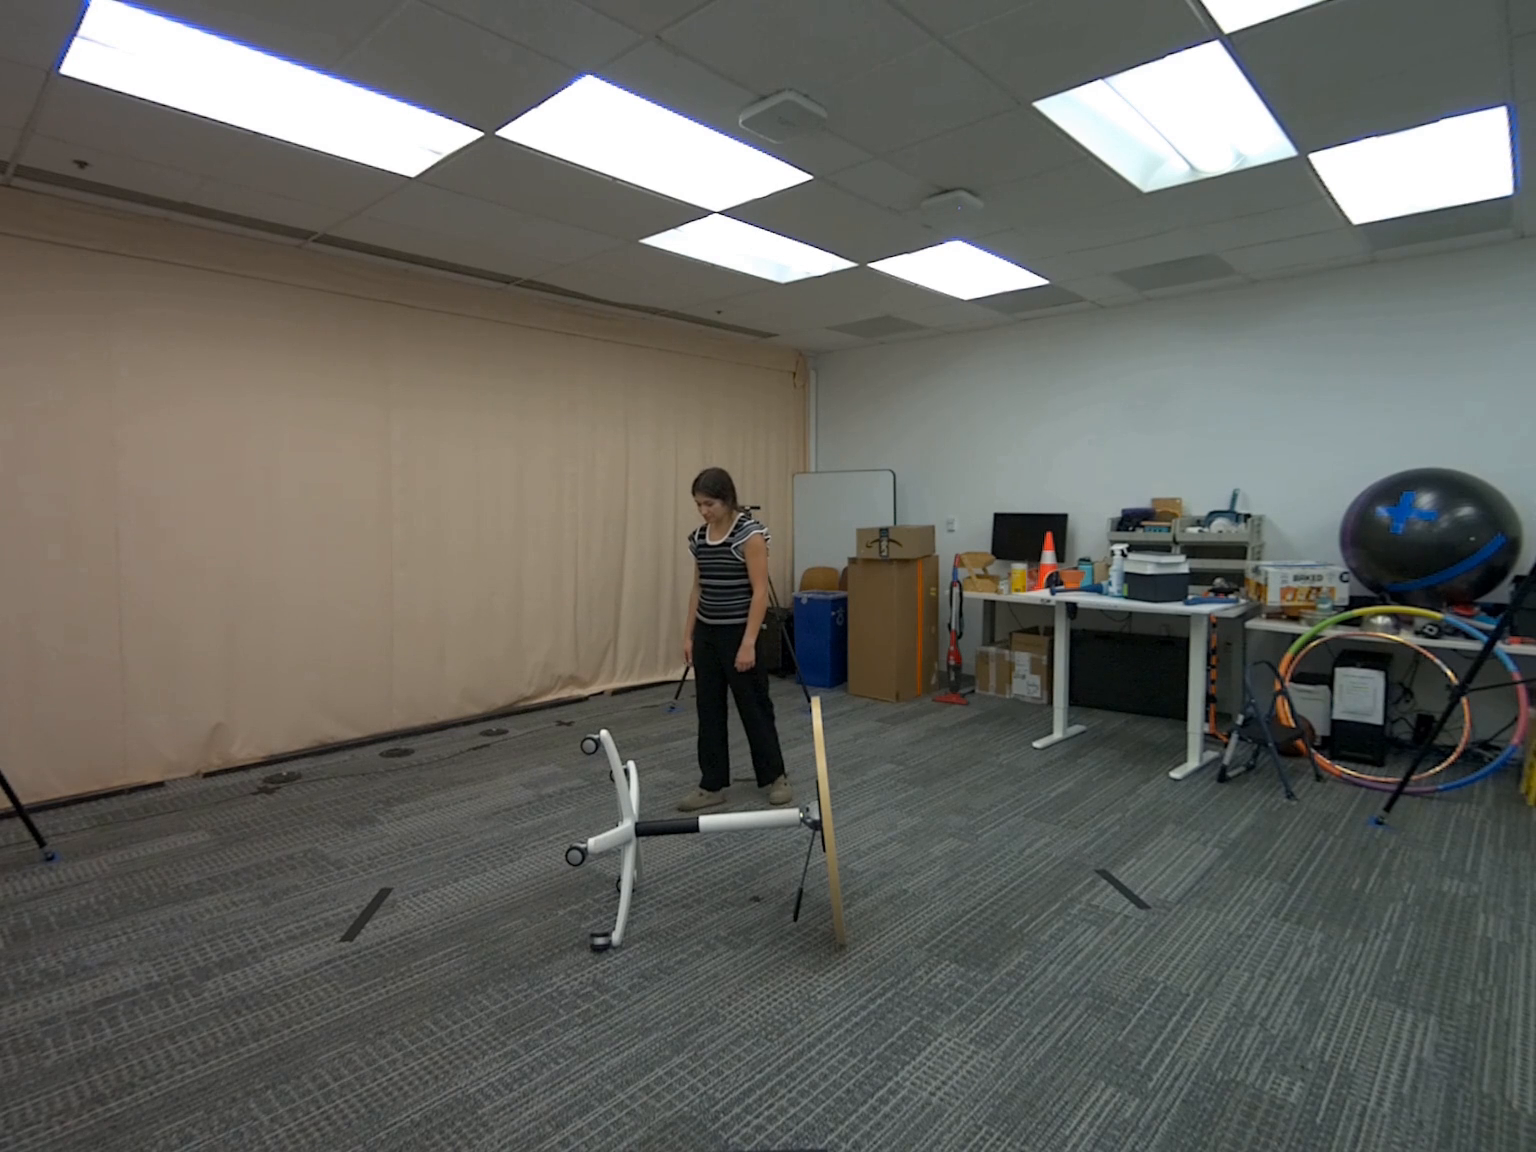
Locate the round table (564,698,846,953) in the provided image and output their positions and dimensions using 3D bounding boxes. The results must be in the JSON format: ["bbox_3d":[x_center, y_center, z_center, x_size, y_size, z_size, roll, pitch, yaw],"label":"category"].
[{"bbox_3d":[-0.186,0.820,2.788,0.791,0.783,0.782,-6,3,5],"label":"round table"}]
